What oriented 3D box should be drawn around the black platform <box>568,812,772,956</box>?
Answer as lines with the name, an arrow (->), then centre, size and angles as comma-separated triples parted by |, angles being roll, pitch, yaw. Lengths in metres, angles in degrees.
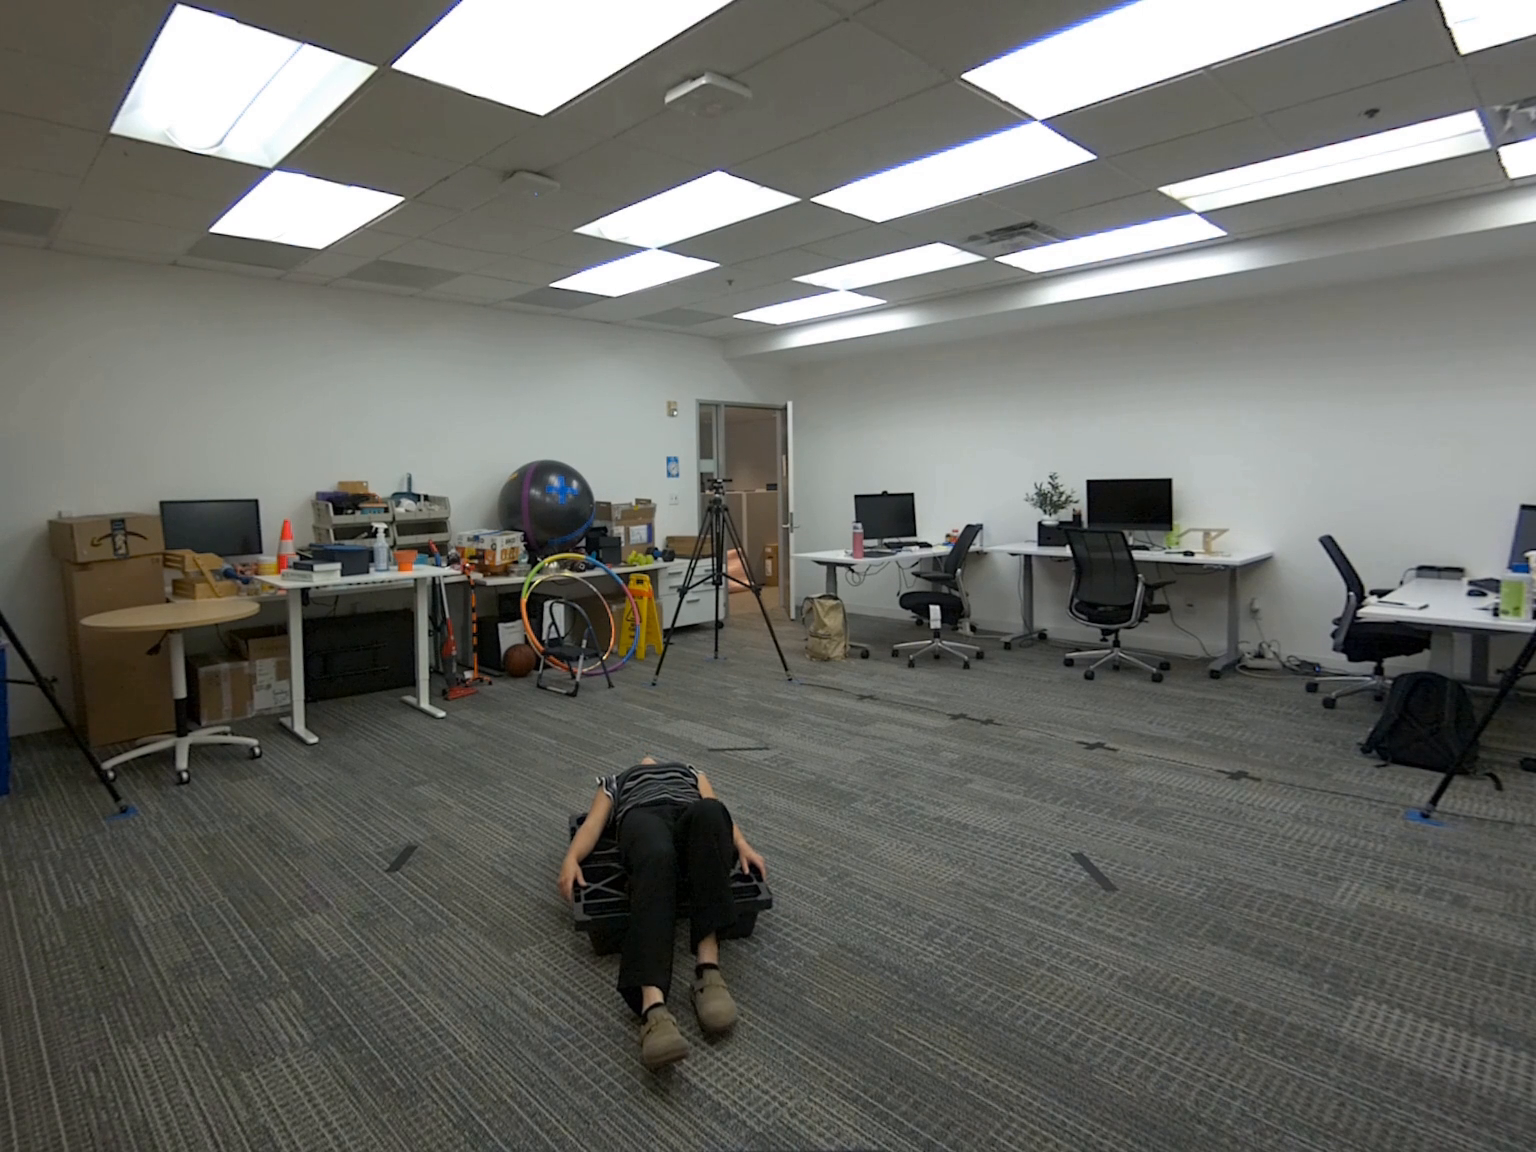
black platform -> -0.373, 1.009, 2.910 | 0.598, 0.142, 0.819 | -1, 7, -13
